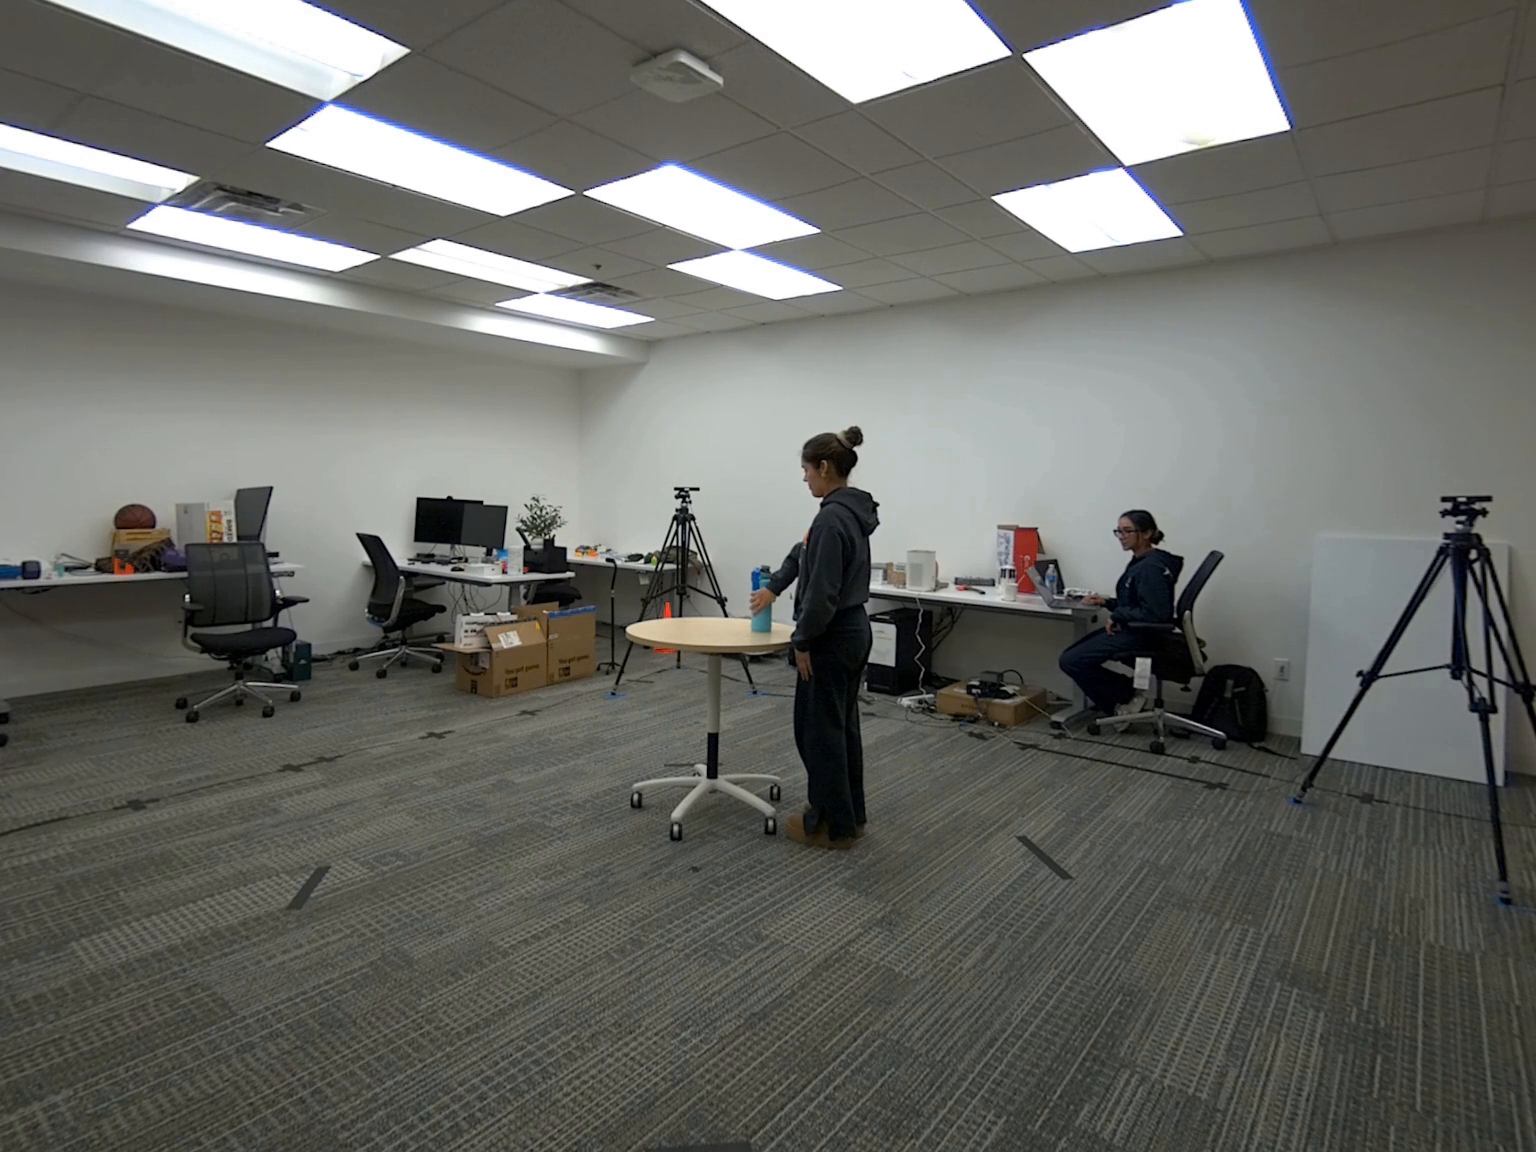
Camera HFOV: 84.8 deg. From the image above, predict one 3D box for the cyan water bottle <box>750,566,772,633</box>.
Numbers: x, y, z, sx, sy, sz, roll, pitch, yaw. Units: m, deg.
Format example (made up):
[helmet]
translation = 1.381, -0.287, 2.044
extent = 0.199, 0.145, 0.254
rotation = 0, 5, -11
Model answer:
[cyan water bottle]
translation = -0.027, 0.095, 3.670
extent = 0.092, 0.282, 0.093
rotation = 1, 4, -2
